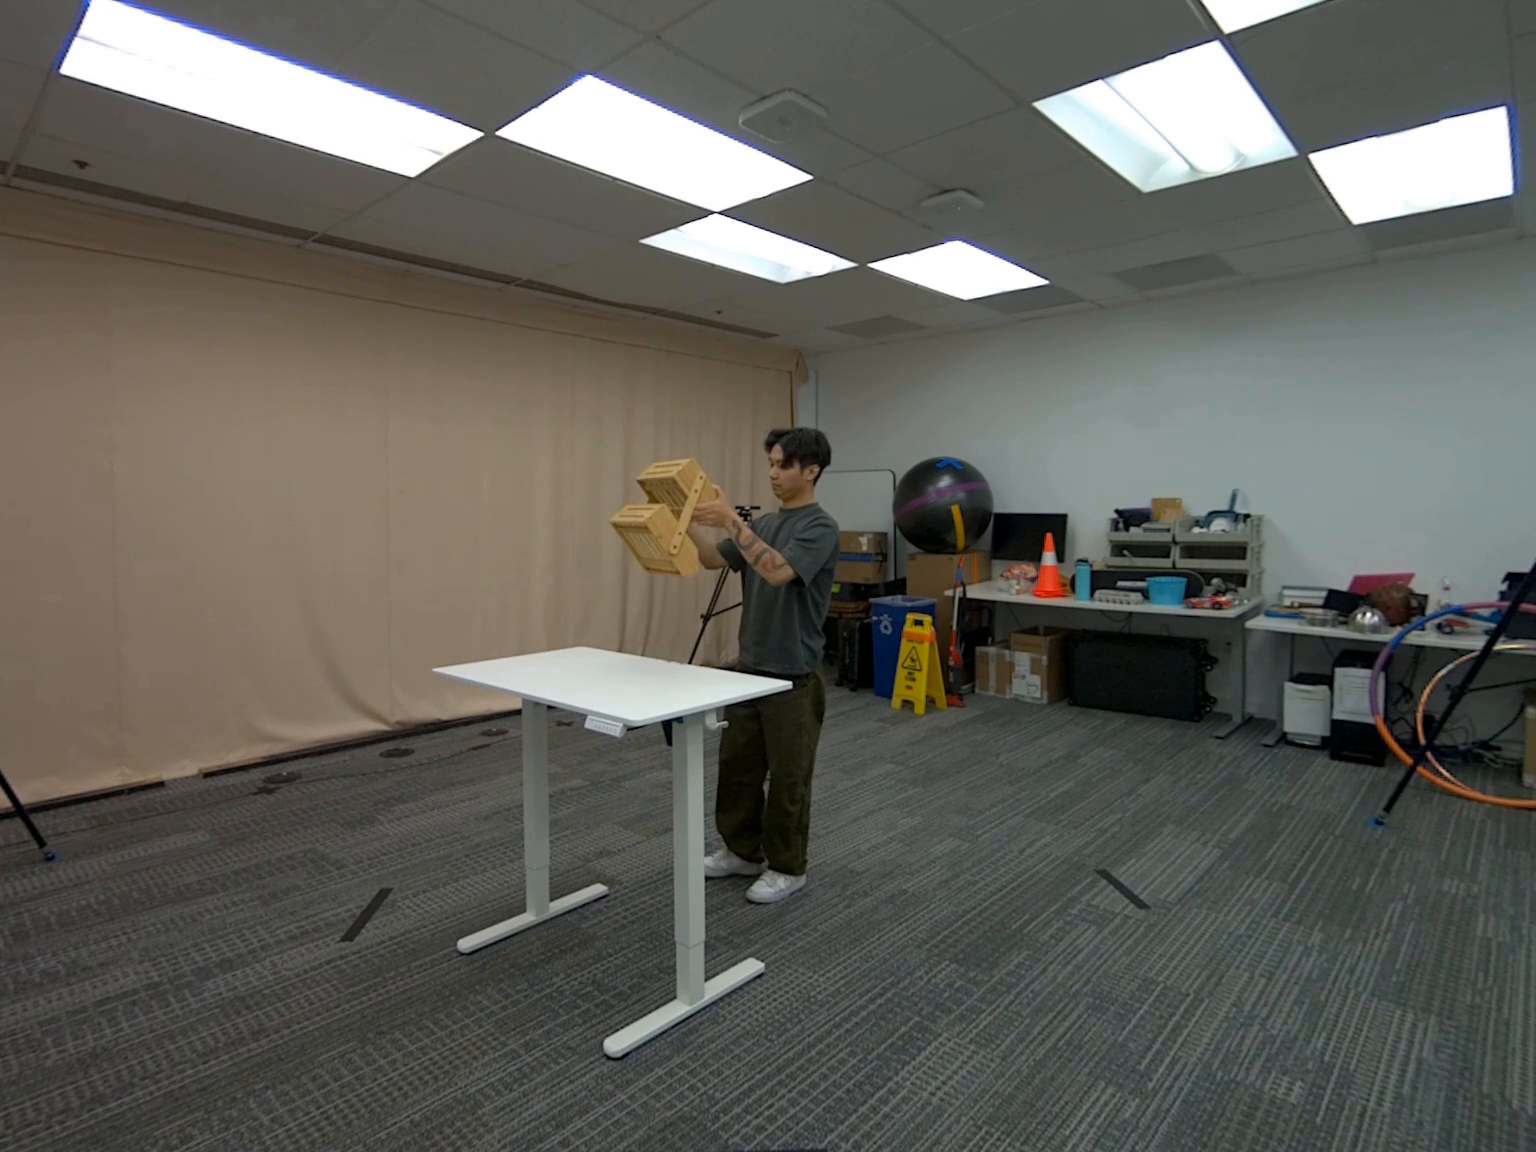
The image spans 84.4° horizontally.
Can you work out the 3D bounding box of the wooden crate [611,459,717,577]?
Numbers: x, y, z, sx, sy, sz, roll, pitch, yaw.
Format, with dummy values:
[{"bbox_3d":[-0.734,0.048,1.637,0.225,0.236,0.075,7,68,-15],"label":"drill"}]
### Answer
[{"bbox_3d":[-0.318,-0.187,2.812,0.271,0.295,0.334,-45,23,-21],"label":"wooden crate"}]
